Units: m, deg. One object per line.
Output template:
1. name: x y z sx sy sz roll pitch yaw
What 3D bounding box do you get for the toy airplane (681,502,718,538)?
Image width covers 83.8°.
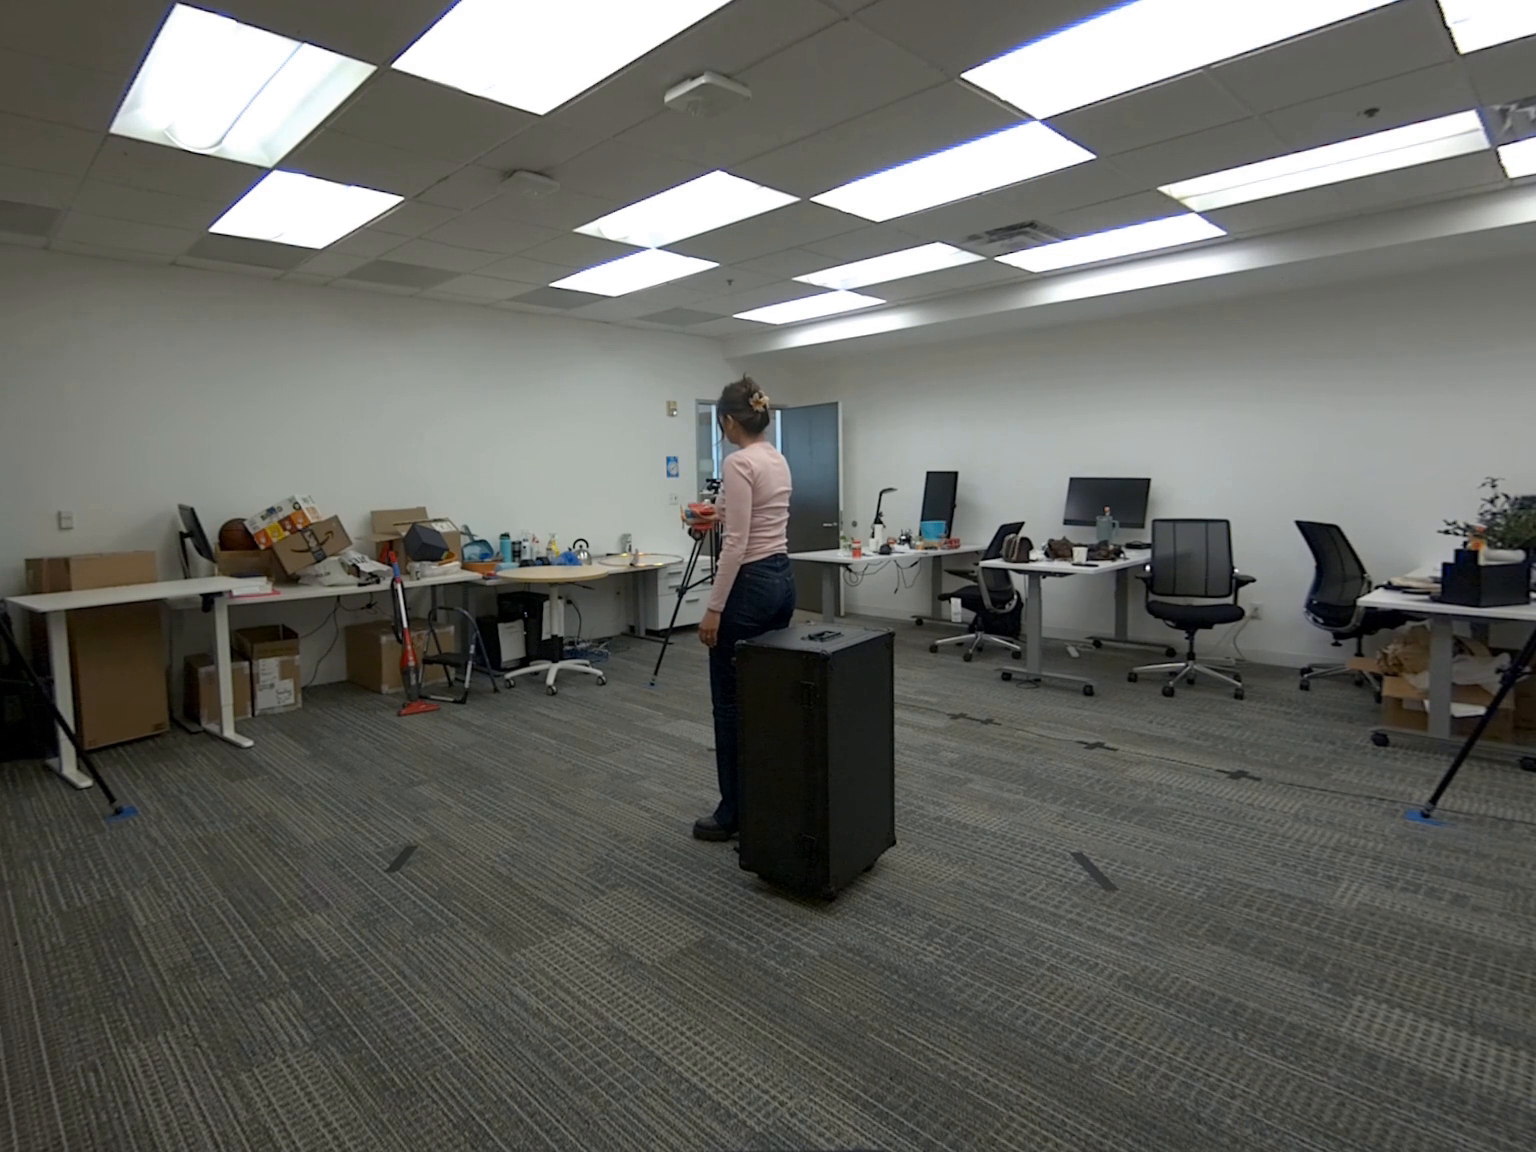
1. toy airplane: -0.282 -0.281 4.046 0.259 0.153 0.257 3 27 44
